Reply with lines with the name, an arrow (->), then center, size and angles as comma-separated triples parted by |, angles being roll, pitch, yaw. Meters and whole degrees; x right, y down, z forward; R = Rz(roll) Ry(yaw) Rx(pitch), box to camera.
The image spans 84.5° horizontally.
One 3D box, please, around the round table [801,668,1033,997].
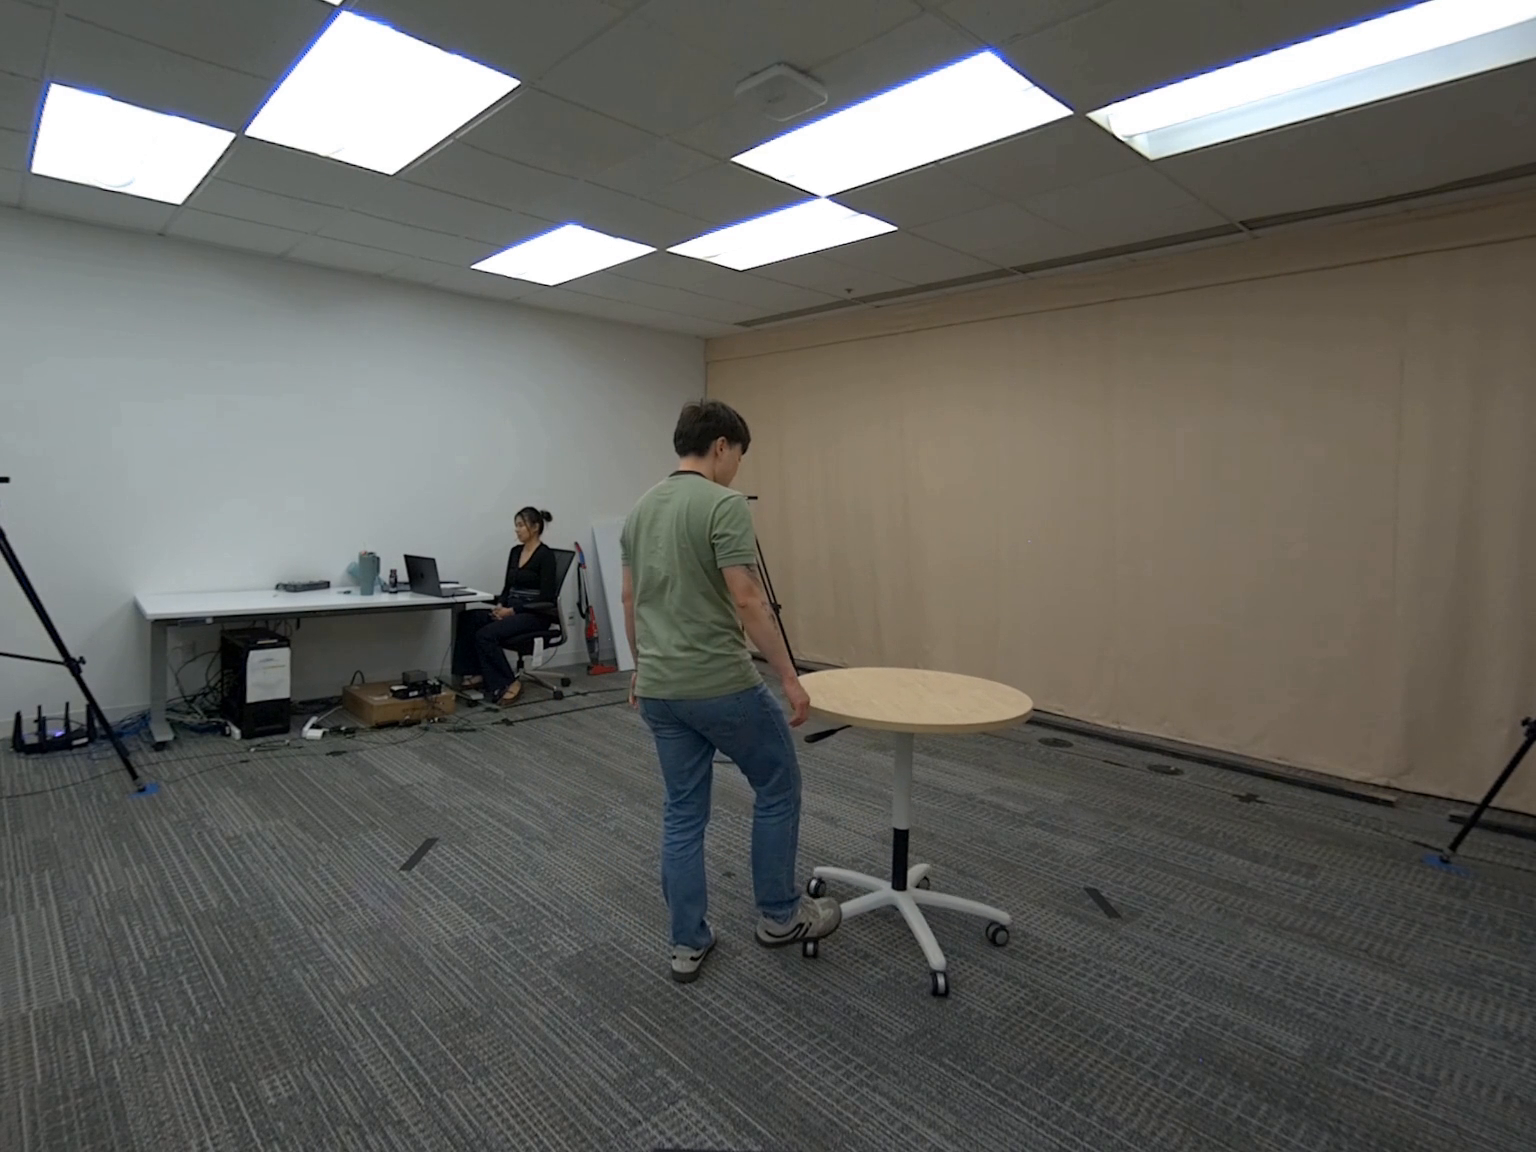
round table -> 0.429, 0.765, 2.717 | 0.763, 0.792, 0.767 | 1, 4, -1
